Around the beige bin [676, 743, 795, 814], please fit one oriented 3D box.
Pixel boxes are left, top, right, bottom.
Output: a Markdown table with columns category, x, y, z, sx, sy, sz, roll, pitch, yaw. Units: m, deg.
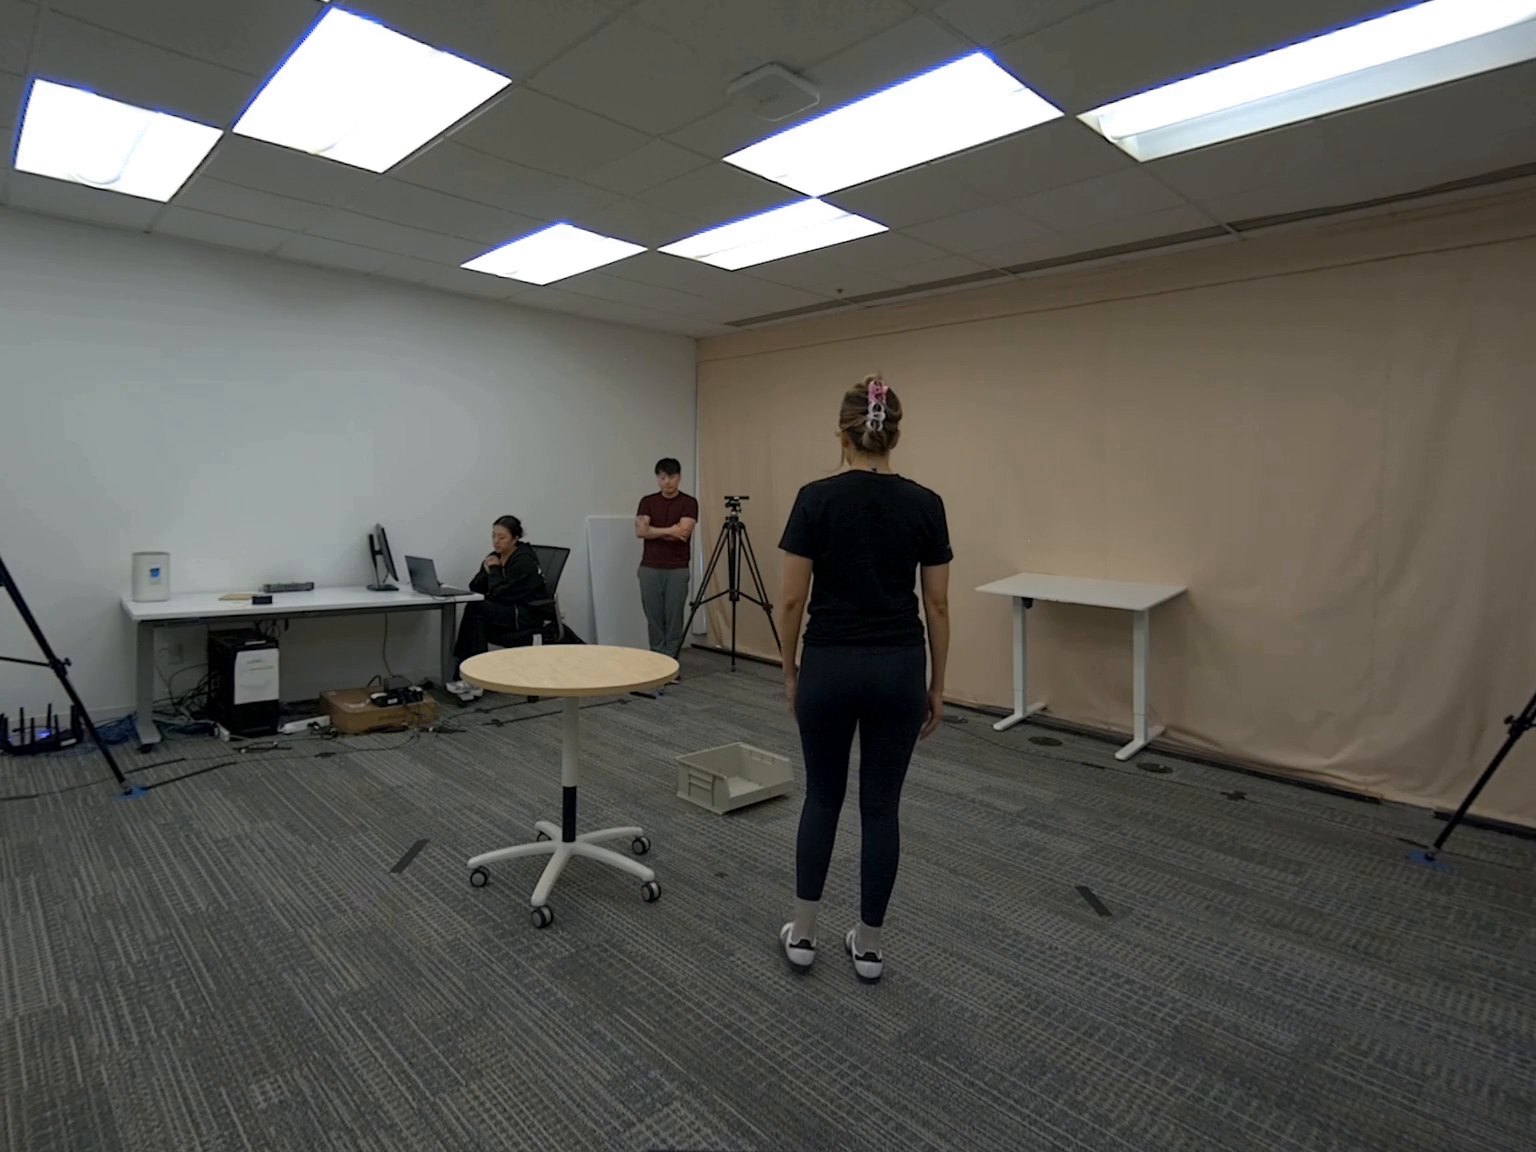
| category | x | y | z | sx | sy | sz | roll | pitch | yaw |
| --- | --- | --- | --- | --- | --- | --- | --- | --- | --- |
| beige bin | -0.166 | 0.945 | 3.934 | 0.413 | 0.188 | 0.387 | -4 | 7 | -44 |
